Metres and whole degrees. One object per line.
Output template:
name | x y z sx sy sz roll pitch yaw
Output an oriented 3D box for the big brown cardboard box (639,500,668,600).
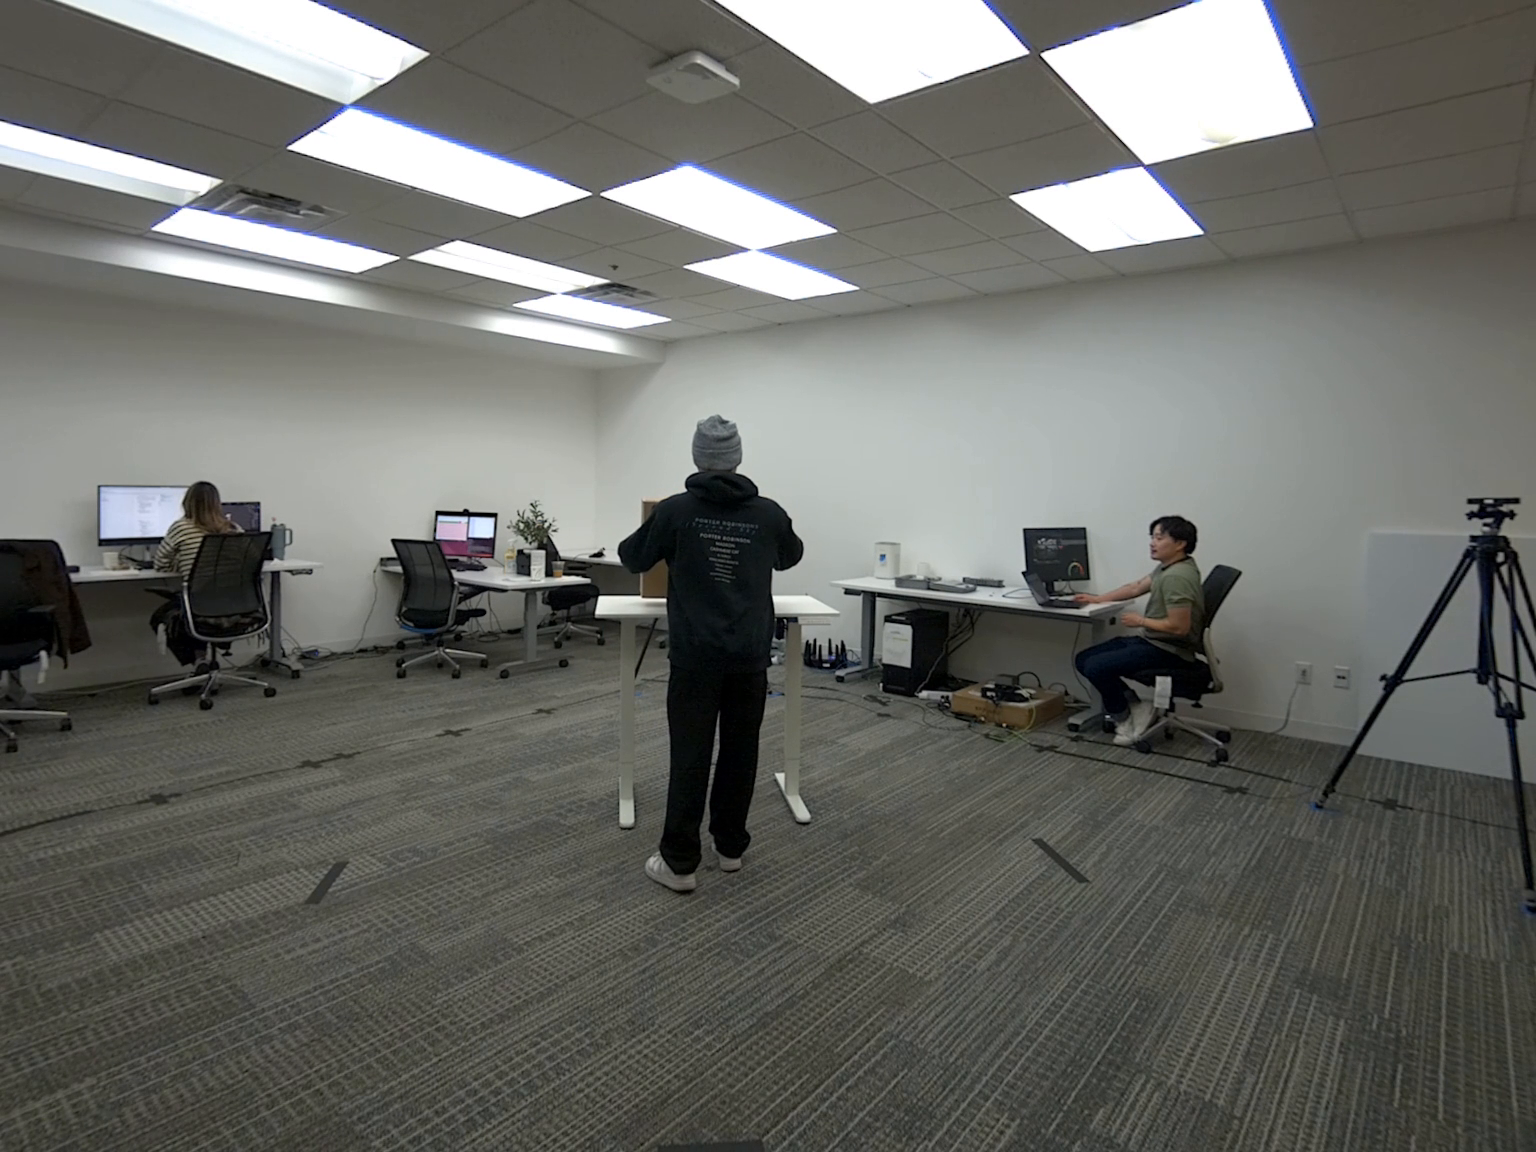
big brown cardboard box | -0.273 -0.123 3.719 0.584 0.415 0.236 2 6 -8
